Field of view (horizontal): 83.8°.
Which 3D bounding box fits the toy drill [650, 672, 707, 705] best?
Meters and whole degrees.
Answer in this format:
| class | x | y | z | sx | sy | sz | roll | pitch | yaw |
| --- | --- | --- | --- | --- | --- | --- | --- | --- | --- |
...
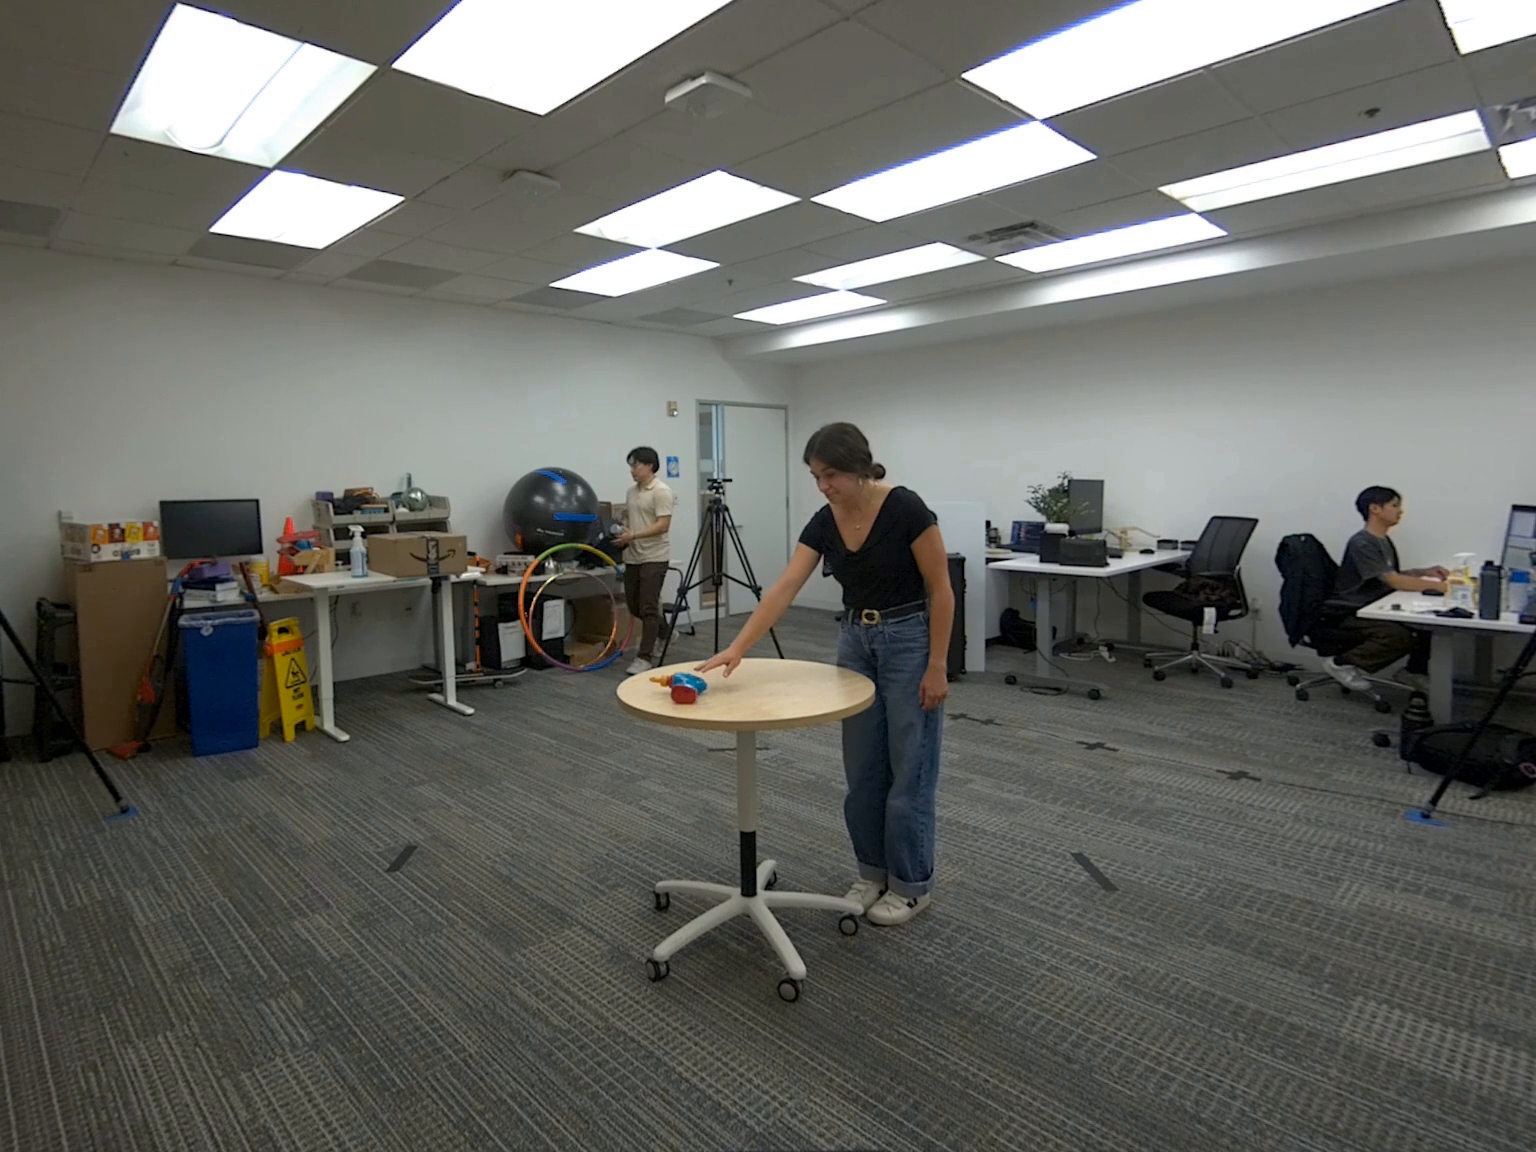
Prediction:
| class | x | y | z | sx | sy | sz | roll | pitch | yaw |
| --- | --- | --- | --- | --- | --- | --- | --- | --- | --- |
| toy drill | -0.259 | 0.315 | 2.422 | 0.171 | 0.061 | 0.146 | 6 | 7 | 4 |
